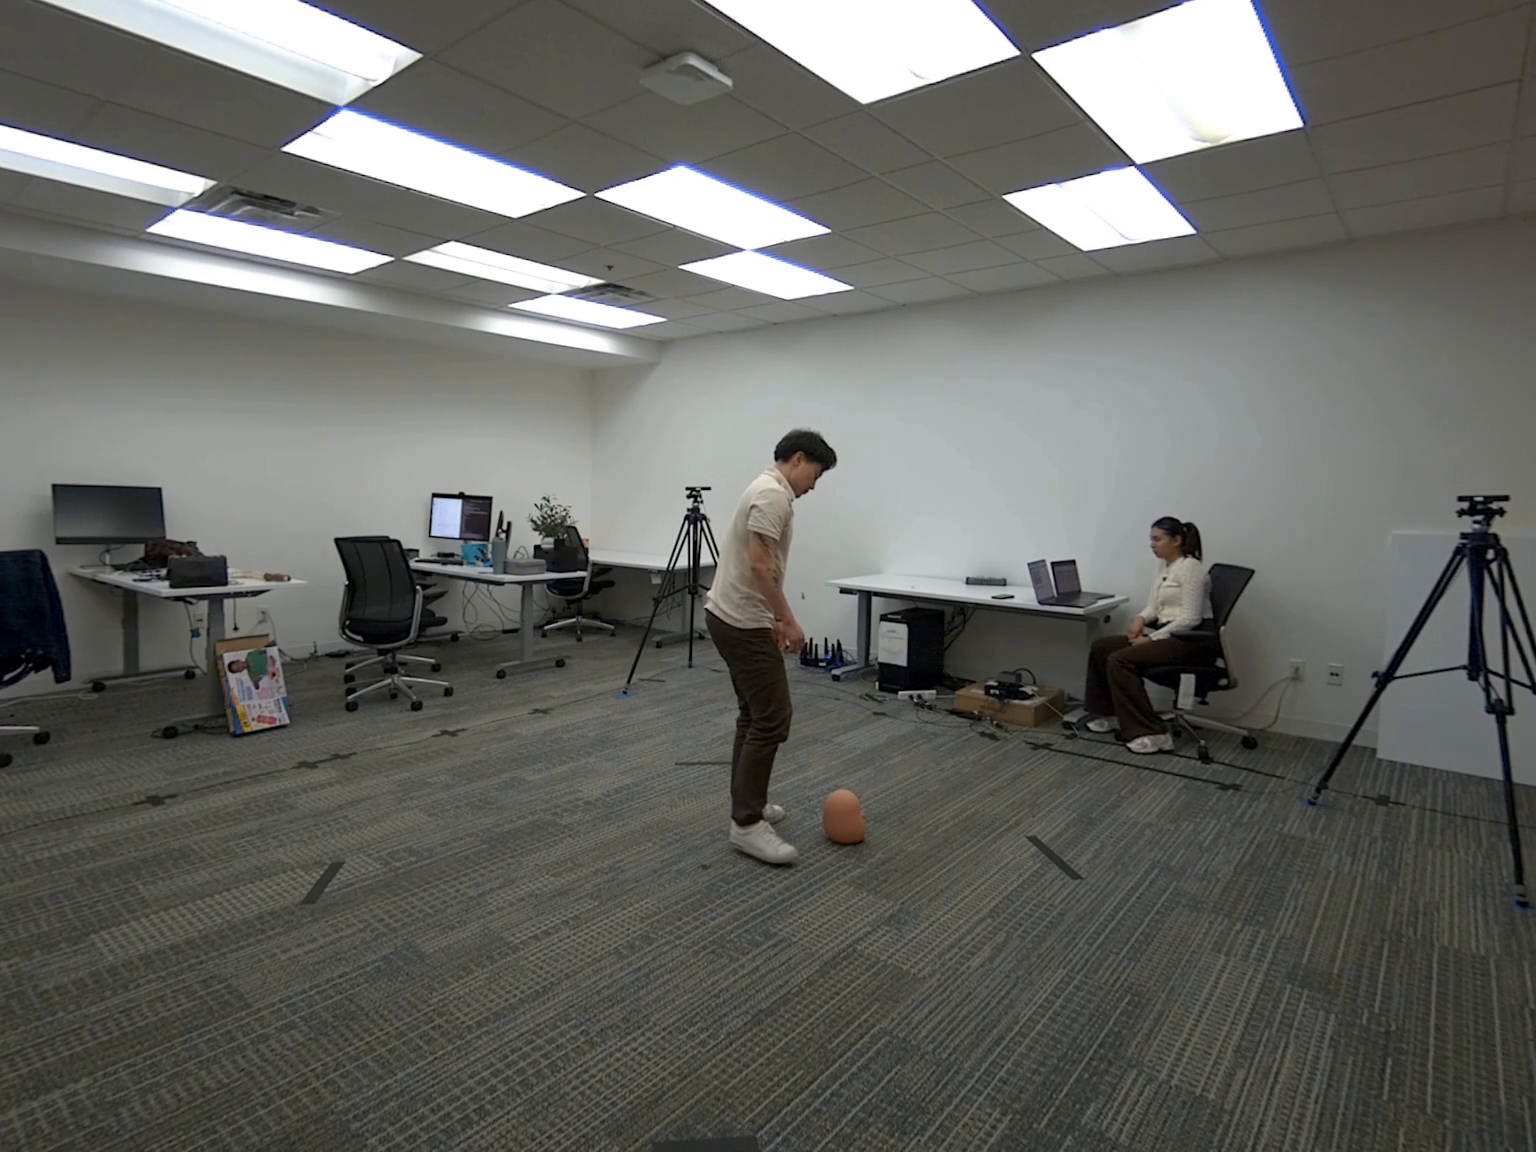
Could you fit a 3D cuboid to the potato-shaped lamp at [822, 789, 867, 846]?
[{"bbox_3d":[0.298,0.950,3.391,0.167,0.197,0.170,-3,6,-33],"label":"potato-shaped lamp"}]
